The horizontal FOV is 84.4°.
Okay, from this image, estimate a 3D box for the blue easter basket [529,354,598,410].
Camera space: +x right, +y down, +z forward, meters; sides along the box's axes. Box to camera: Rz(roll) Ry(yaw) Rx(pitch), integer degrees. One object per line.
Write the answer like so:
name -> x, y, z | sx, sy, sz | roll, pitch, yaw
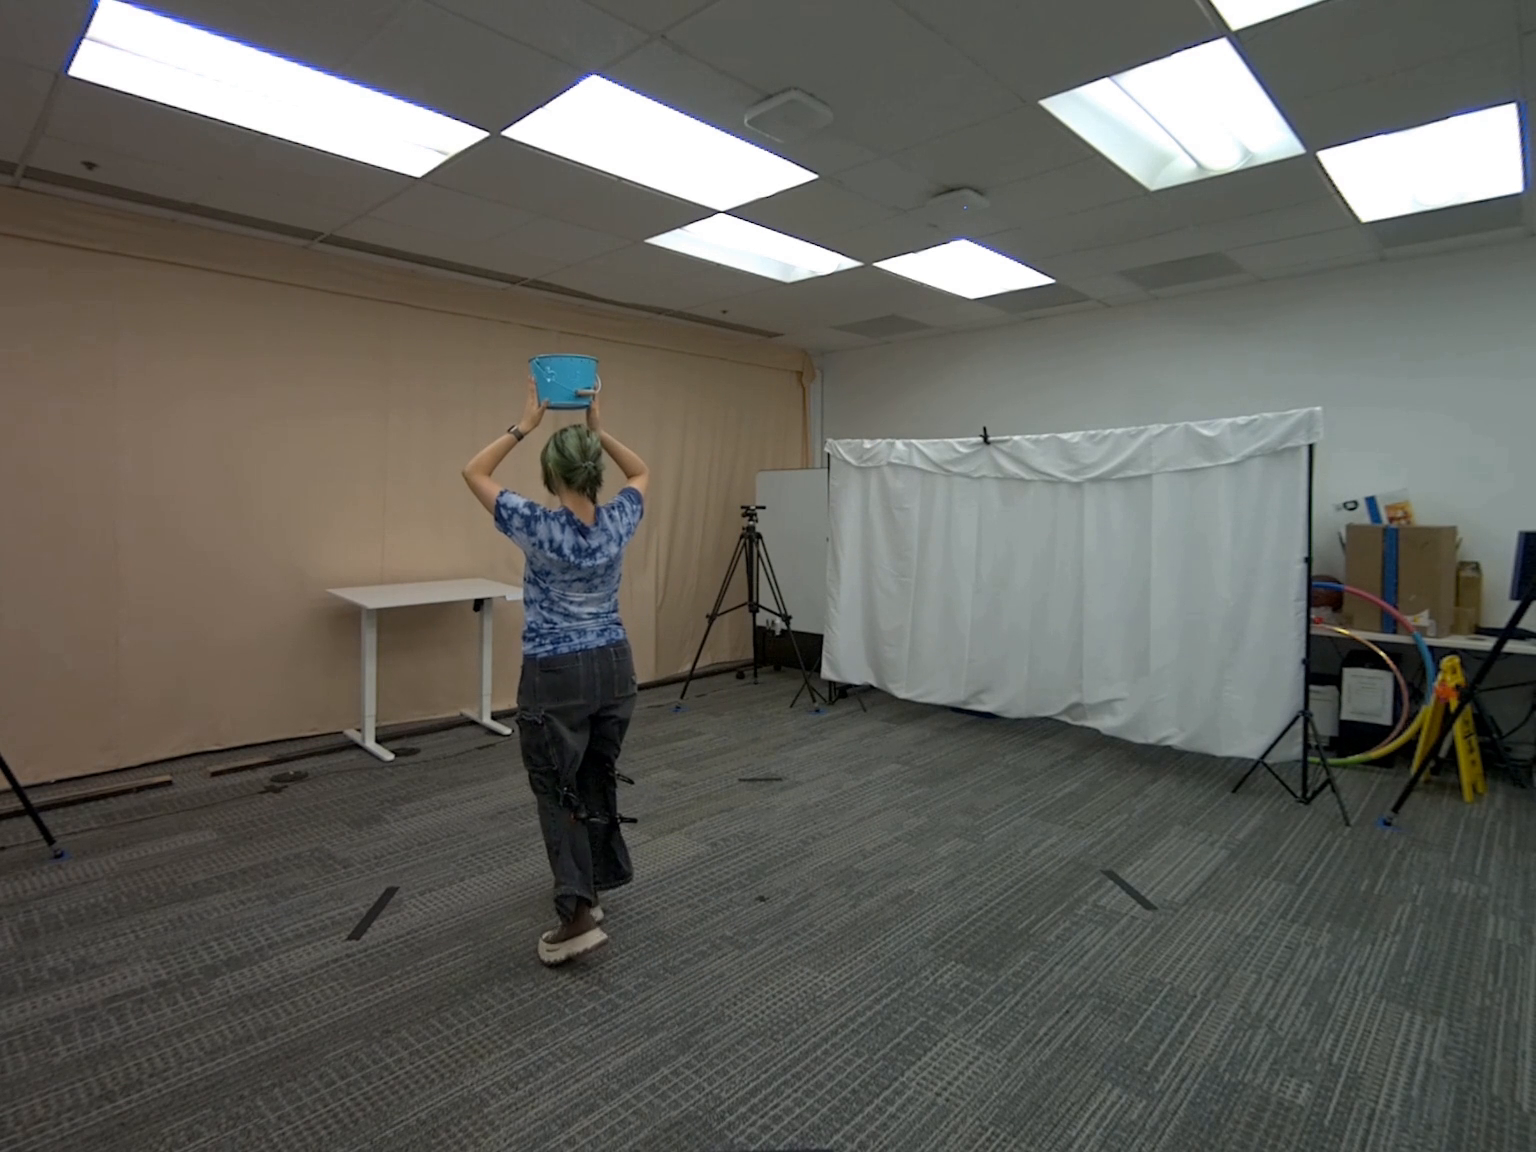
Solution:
blue easter basket -> -0.684, -0.641, 2.779 | 0.243, 0.156, 0.244 | -3, 2, -2
